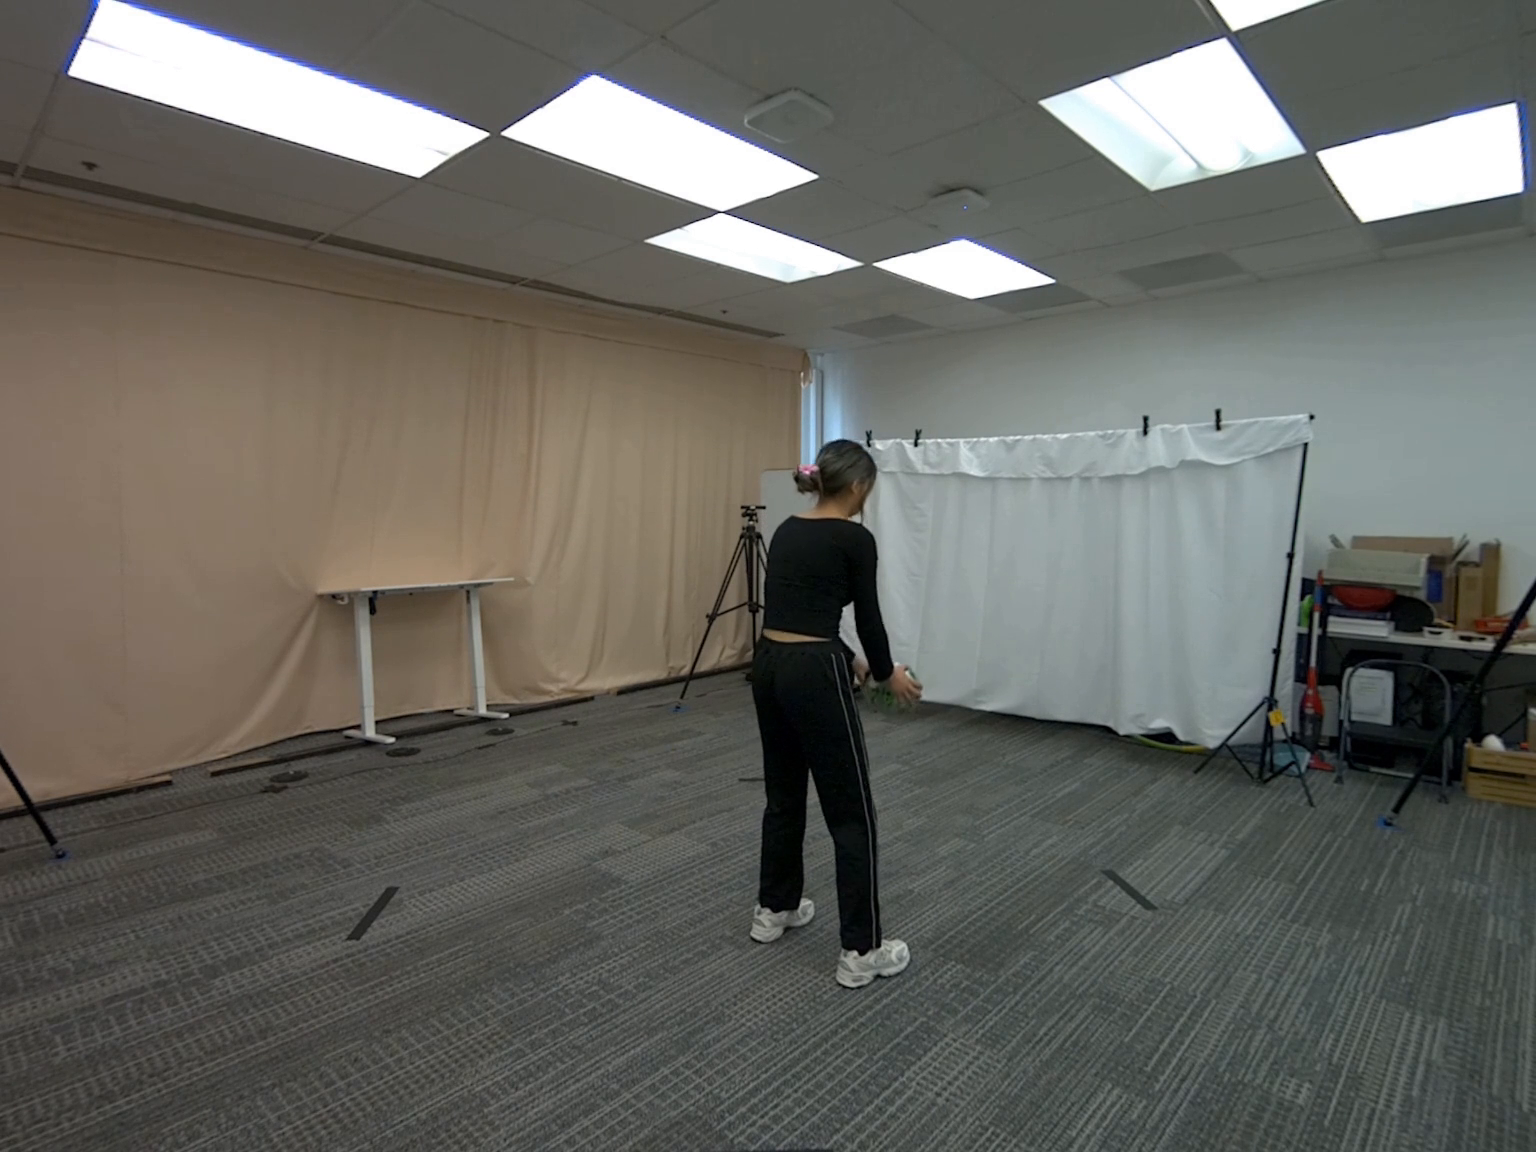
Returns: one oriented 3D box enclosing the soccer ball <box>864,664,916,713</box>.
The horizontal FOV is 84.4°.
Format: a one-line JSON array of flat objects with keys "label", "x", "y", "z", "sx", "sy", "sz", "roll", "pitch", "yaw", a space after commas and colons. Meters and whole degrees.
[{"label": "soccer ball", "x": 0.431, "y": 0.361, "z": 2.861, "sx": 0.187, "sy": 0.187, "sz": 0.188, "roll": 0, "pitch": 4, "yaw": -2}]
